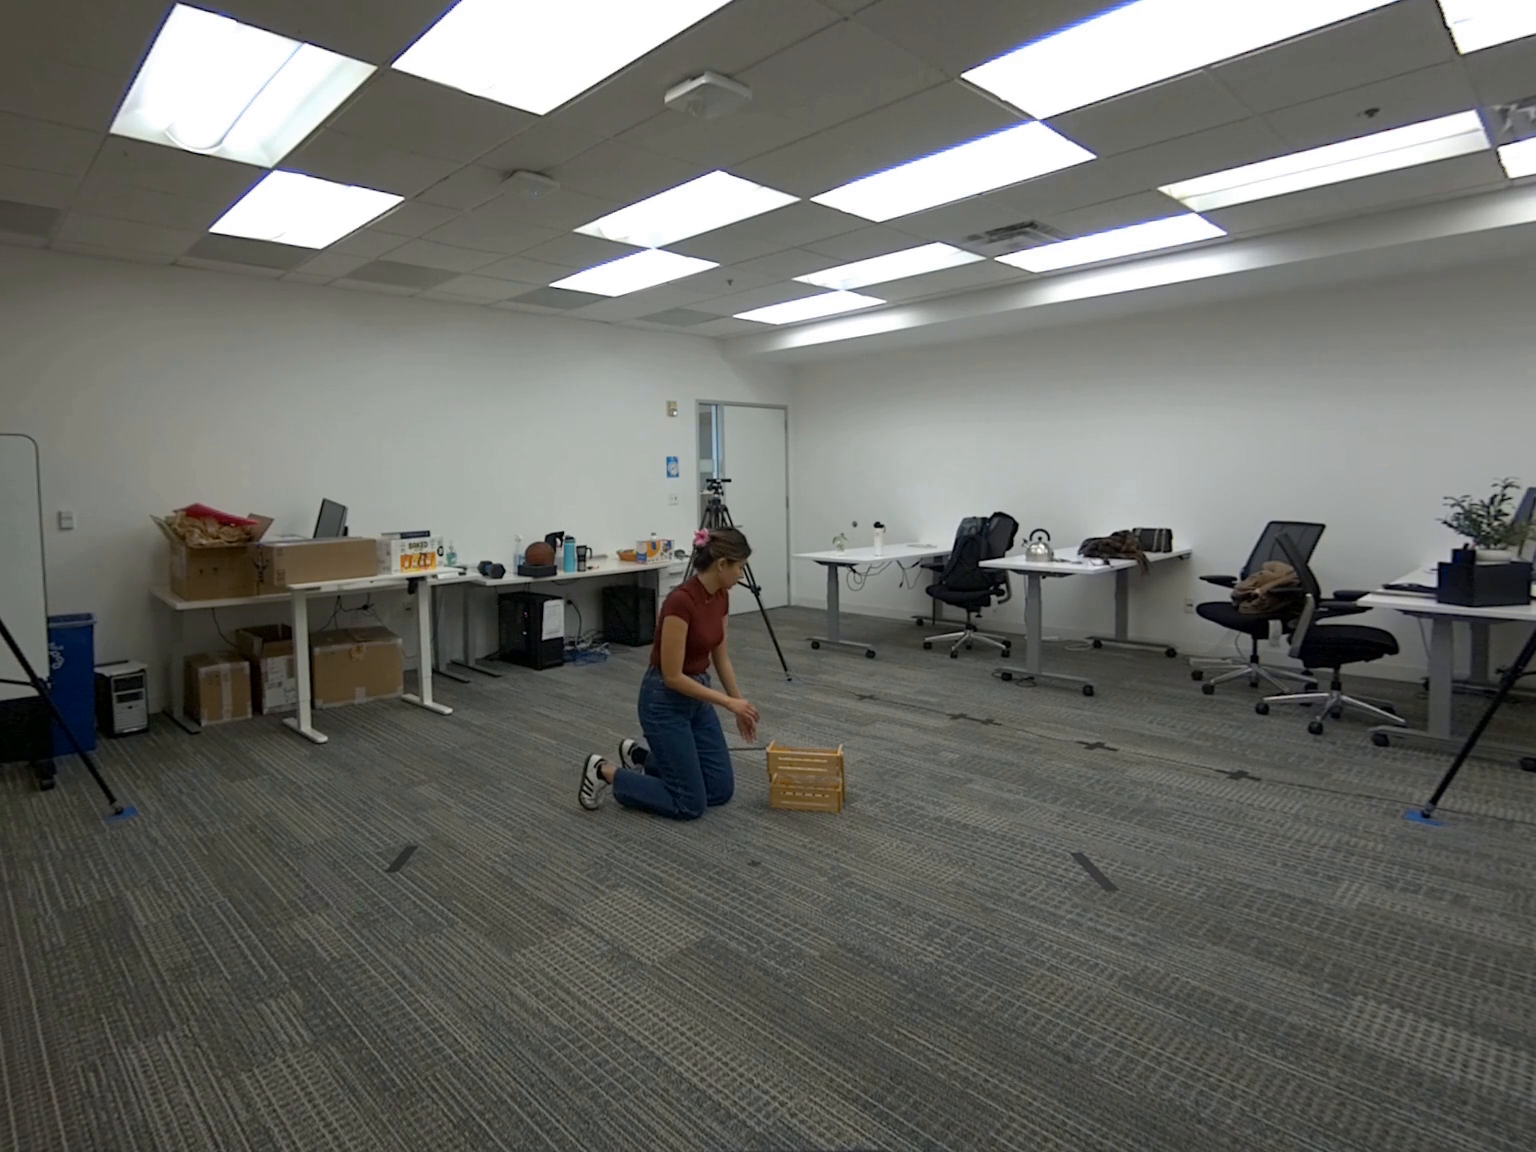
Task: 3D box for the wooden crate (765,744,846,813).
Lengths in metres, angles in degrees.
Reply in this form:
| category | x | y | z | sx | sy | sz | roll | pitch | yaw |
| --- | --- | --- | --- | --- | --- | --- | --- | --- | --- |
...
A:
| category | x | y | z | sx | sy | sz | roll | pitch | yaw |
| --- | --- | --- | --- | --- | --- | --- | --- | --- | --- |
| wooden crate | 0.167 | 0.839 | 3.691 | 0.328 | 0.272 | 0.299 | 0 | 4 | 11 |
